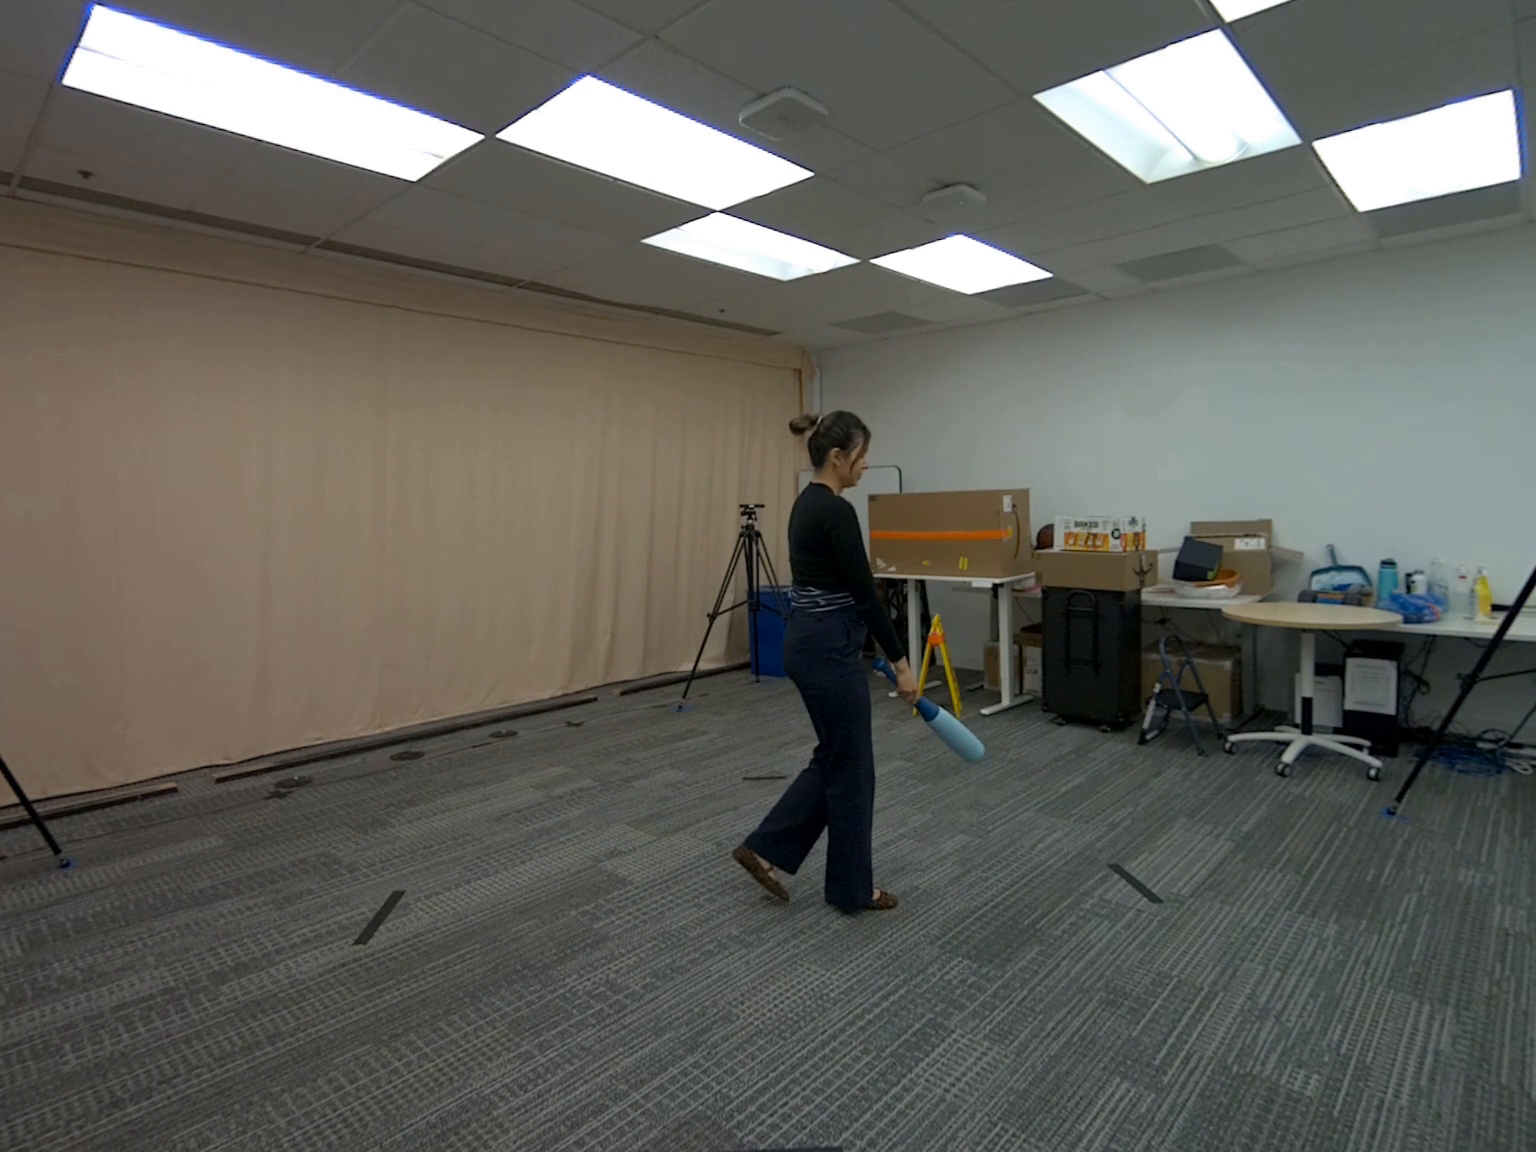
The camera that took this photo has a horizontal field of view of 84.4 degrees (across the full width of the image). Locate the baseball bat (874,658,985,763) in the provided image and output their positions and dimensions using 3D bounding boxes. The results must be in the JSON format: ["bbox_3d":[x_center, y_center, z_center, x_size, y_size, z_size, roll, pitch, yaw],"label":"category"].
[{"bbox_3d":[0.539,0.457,2.832,0.532,0.089,0.091,41,-12,-18],"label":"baseball bat"}]
